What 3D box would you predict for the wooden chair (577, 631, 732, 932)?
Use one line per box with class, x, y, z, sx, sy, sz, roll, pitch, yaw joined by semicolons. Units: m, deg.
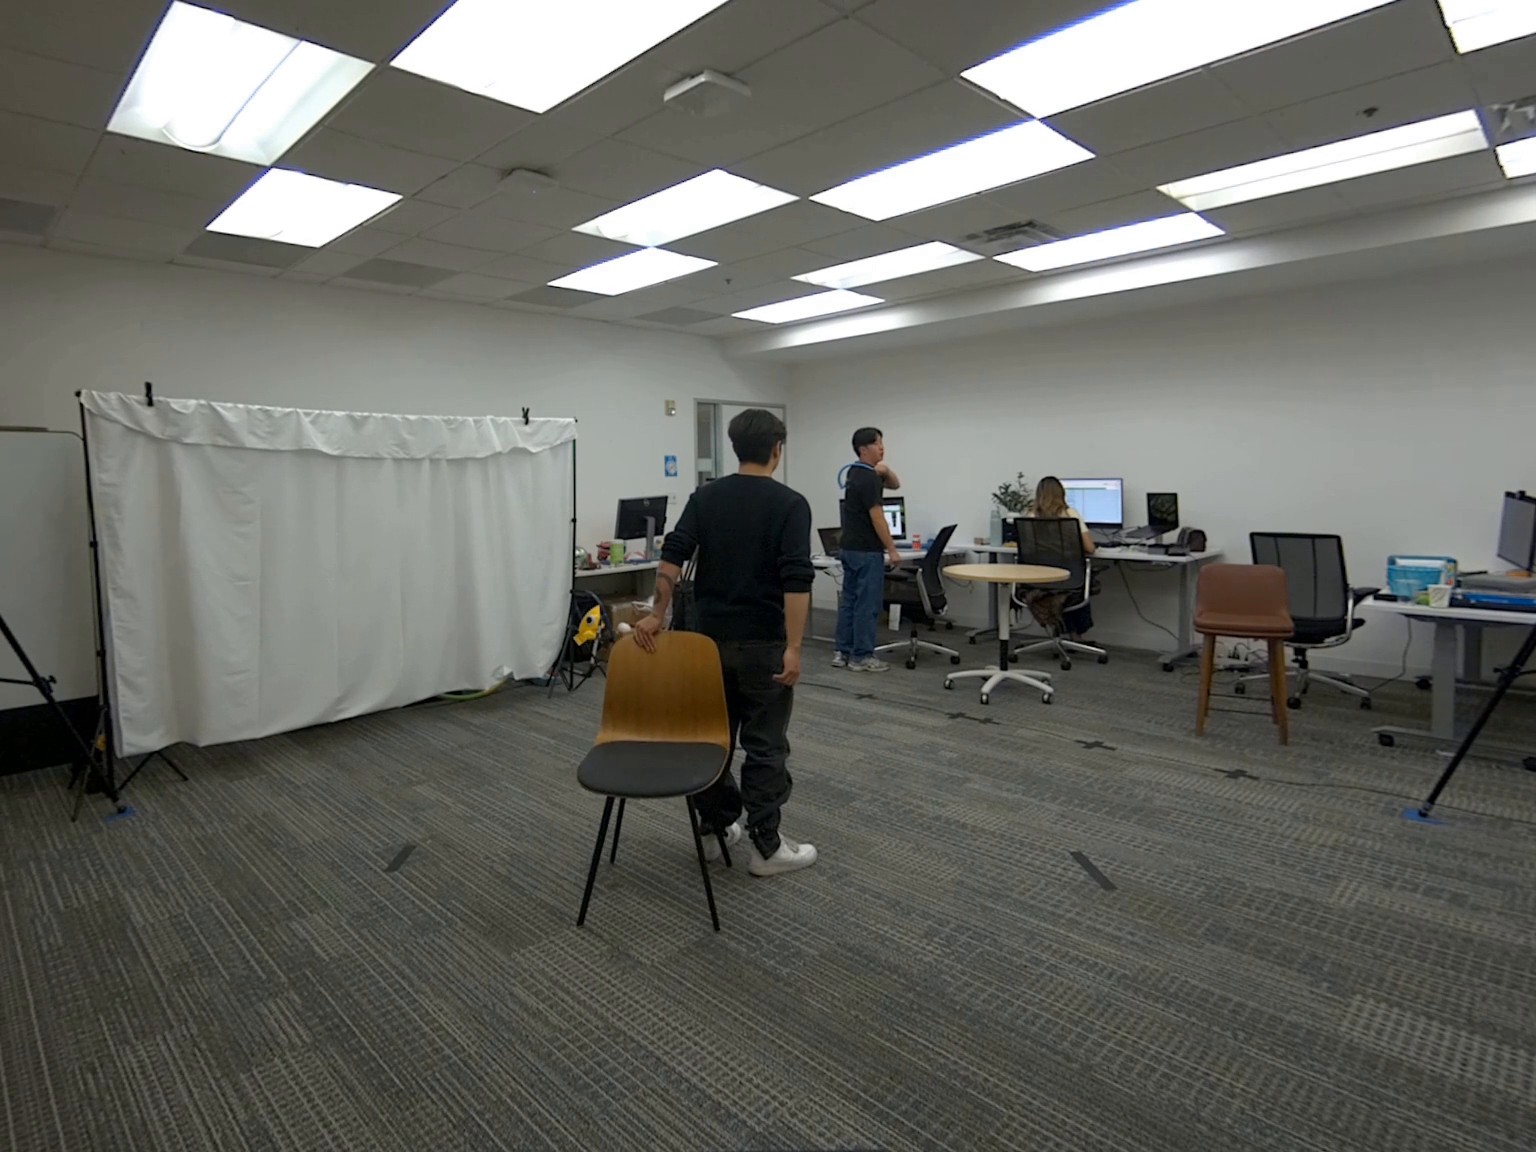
wooden chair;-0.365;0.650;2.839;0.480;0.877;0.521;0;1;4
